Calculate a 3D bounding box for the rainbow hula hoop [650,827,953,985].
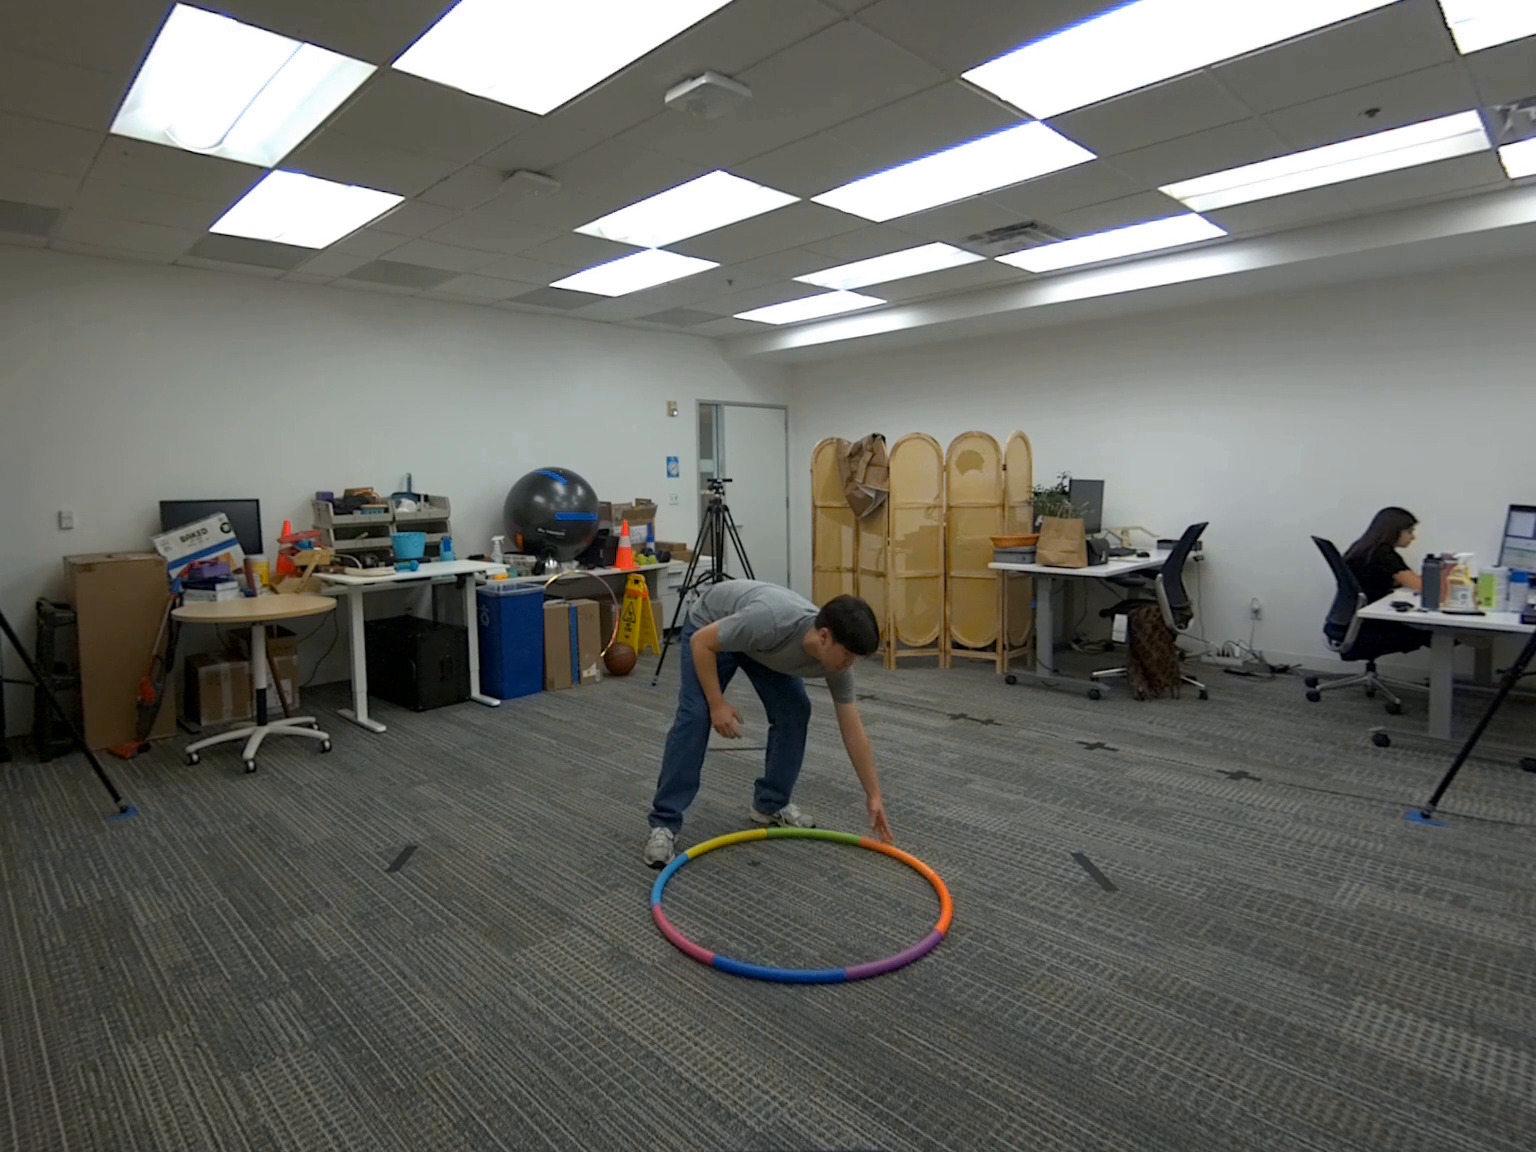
[{"bbox_3d":[0.107,1.033,2.840,0.978,0.035,0.985,-2,7,-1],"label":"rainbow hula hoop"}]
